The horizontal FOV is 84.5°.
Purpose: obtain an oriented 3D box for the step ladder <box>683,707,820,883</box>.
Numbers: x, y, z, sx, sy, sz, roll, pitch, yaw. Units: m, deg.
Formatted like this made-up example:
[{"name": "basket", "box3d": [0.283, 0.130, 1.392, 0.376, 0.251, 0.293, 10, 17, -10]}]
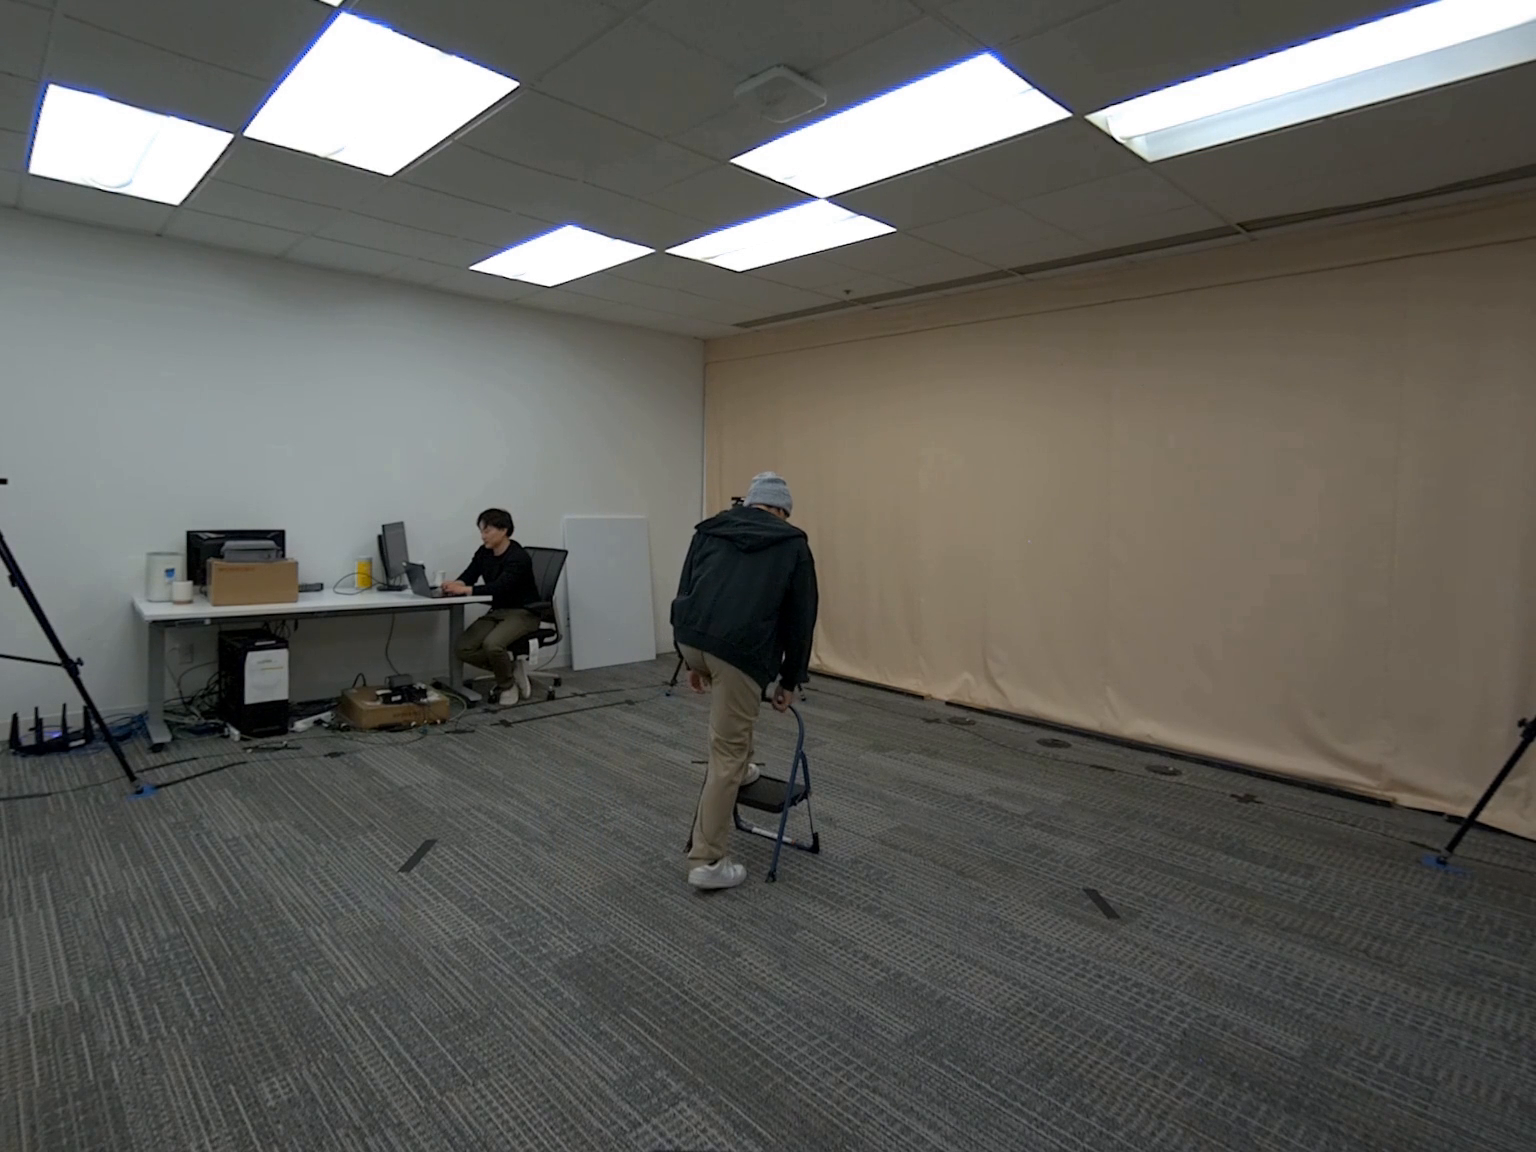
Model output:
[{"name": "step ladder", "box3d": [-0.056, 0.789, 3.306, 0.441, 0.605, 0.342, 4, 4, 36]}]
